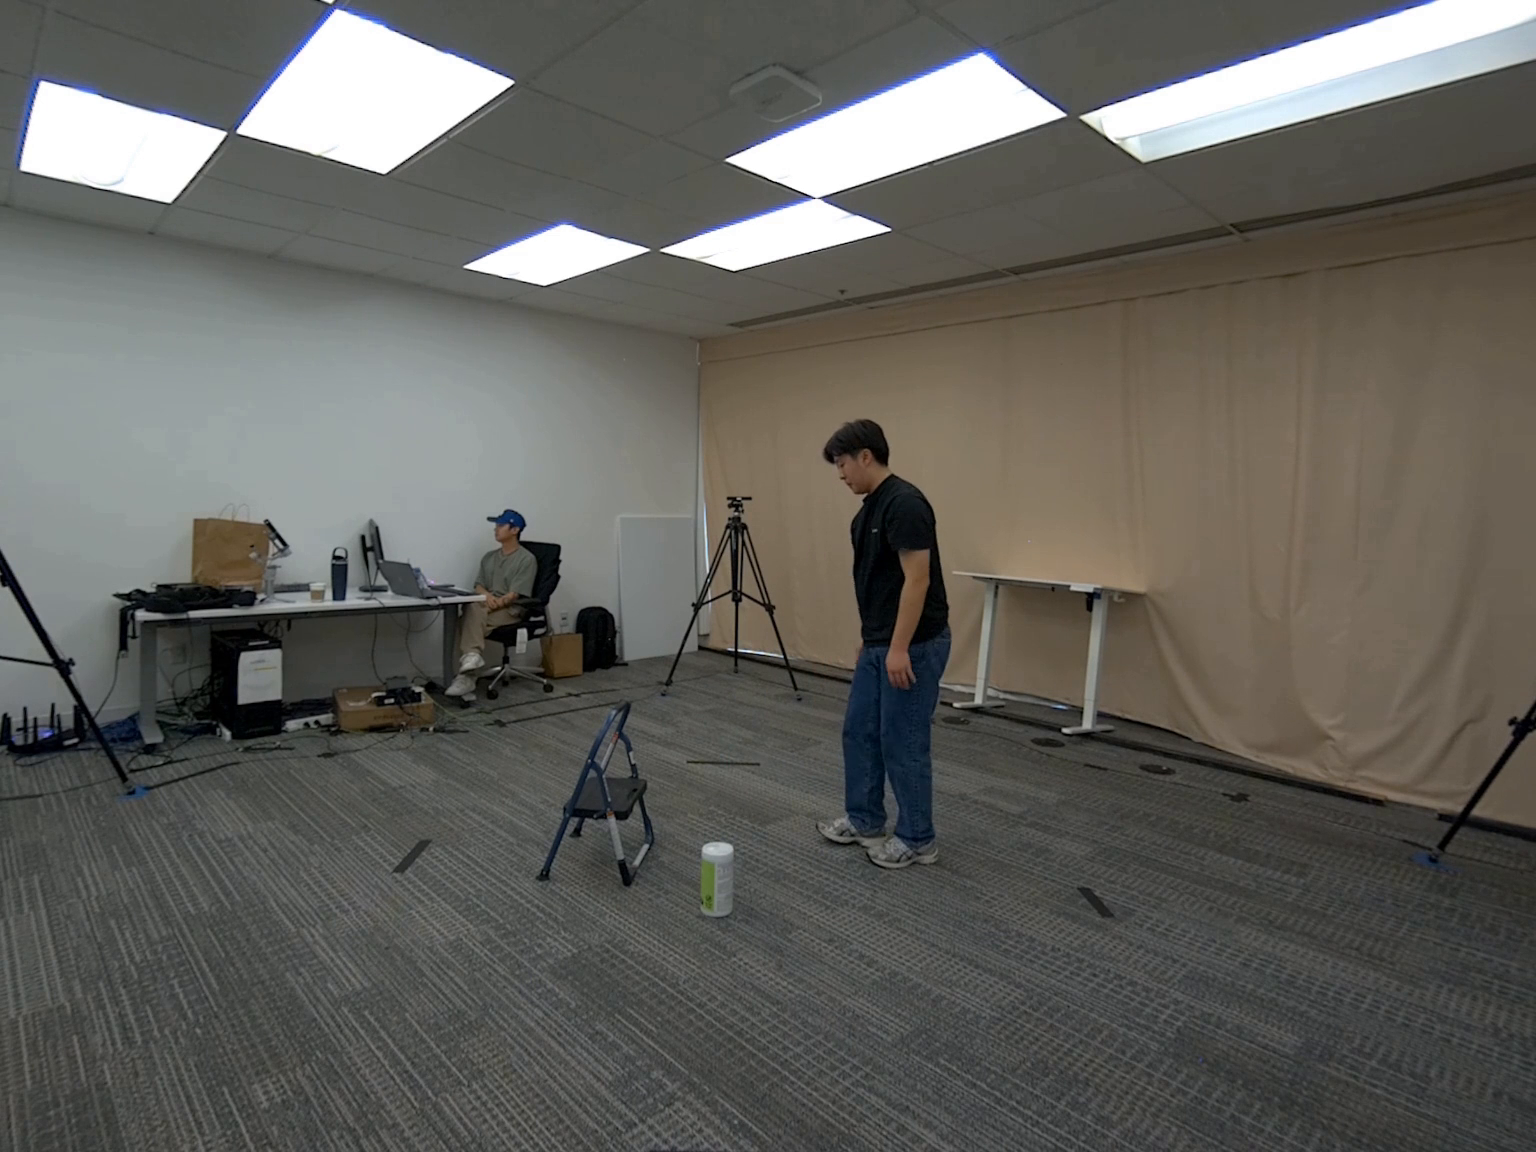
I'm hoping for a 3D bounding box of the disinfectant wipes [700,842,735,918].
[{"bbox_3d":[-0.176,1.024,2.837,0.118,0.217,0.118,1,2,-1],"label":"disinfectant wipes"}]
